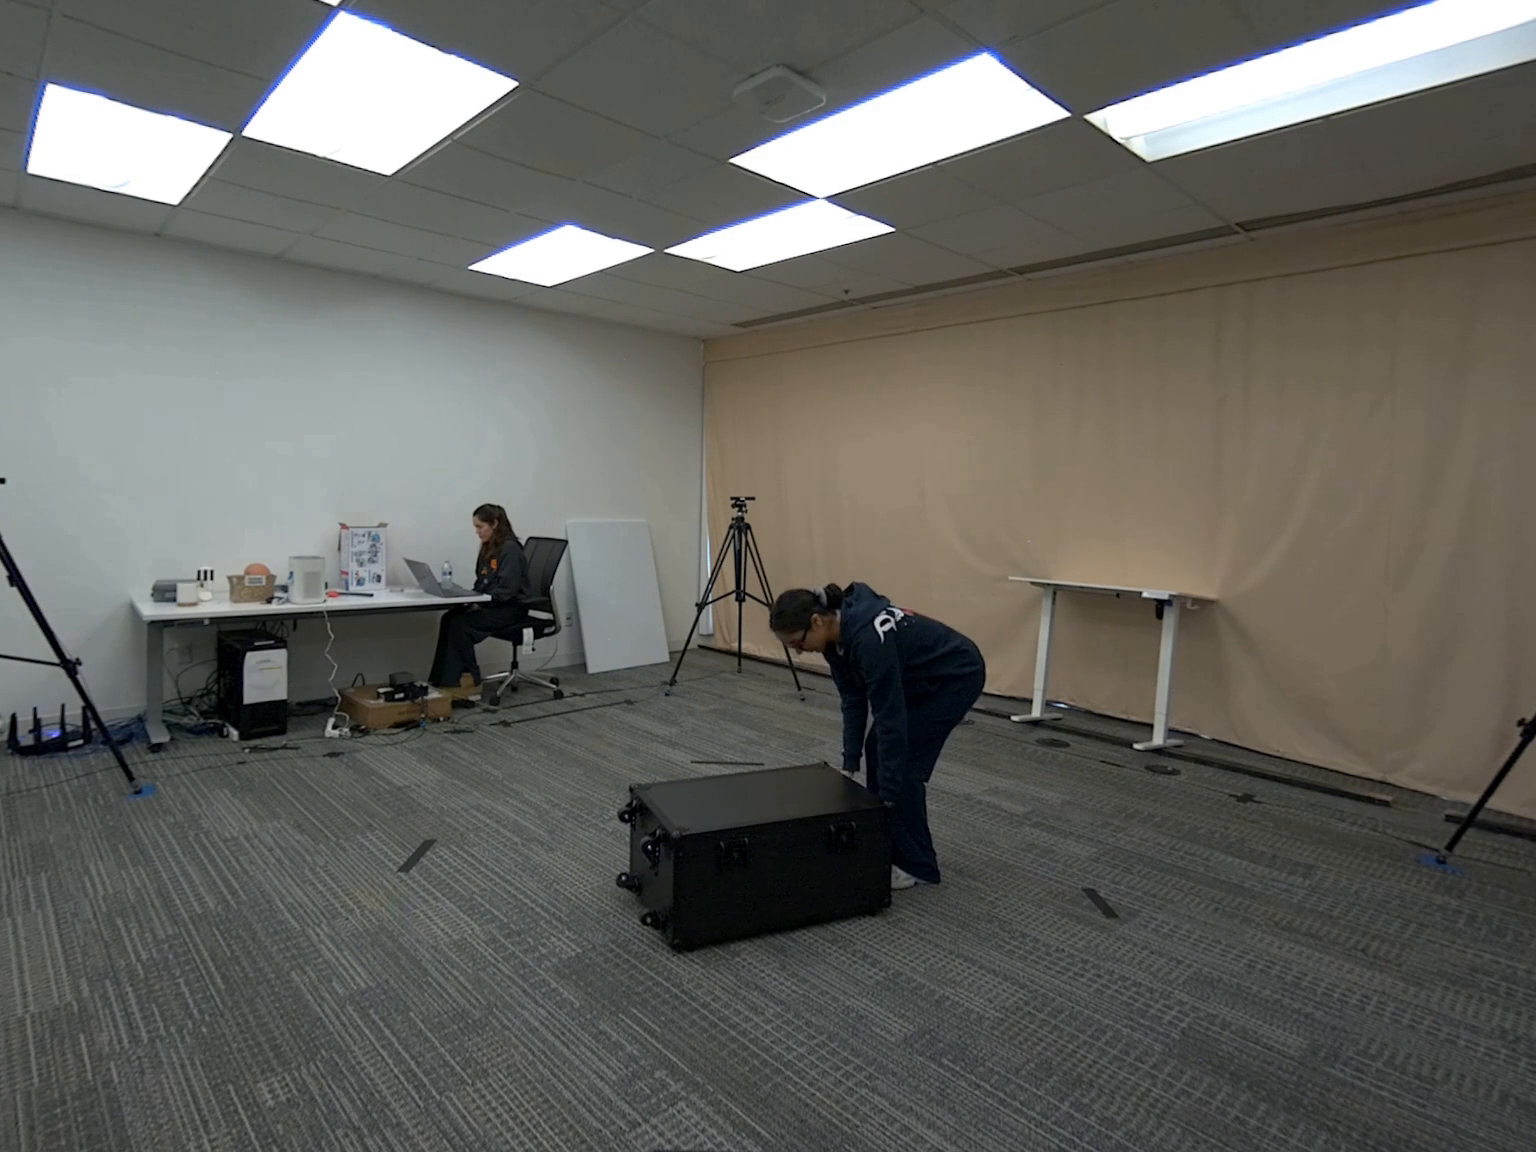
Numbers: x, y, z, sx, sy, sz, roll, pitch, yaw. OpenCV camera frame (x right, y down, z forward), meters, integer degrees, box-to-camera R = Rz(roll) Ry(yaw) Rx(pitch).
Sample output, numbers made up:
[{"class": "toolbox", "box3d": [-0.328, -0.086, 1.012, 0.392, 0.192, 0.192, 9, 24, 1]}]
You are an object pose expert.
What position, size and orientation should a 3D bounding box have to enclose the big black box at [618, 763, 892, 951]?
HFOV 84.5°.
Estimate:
[{"class": "big black box", "box3d": [-0.070, 0.954, 2.860, 0.846, 0.520, 0.404, 0, 4, -24]}]
